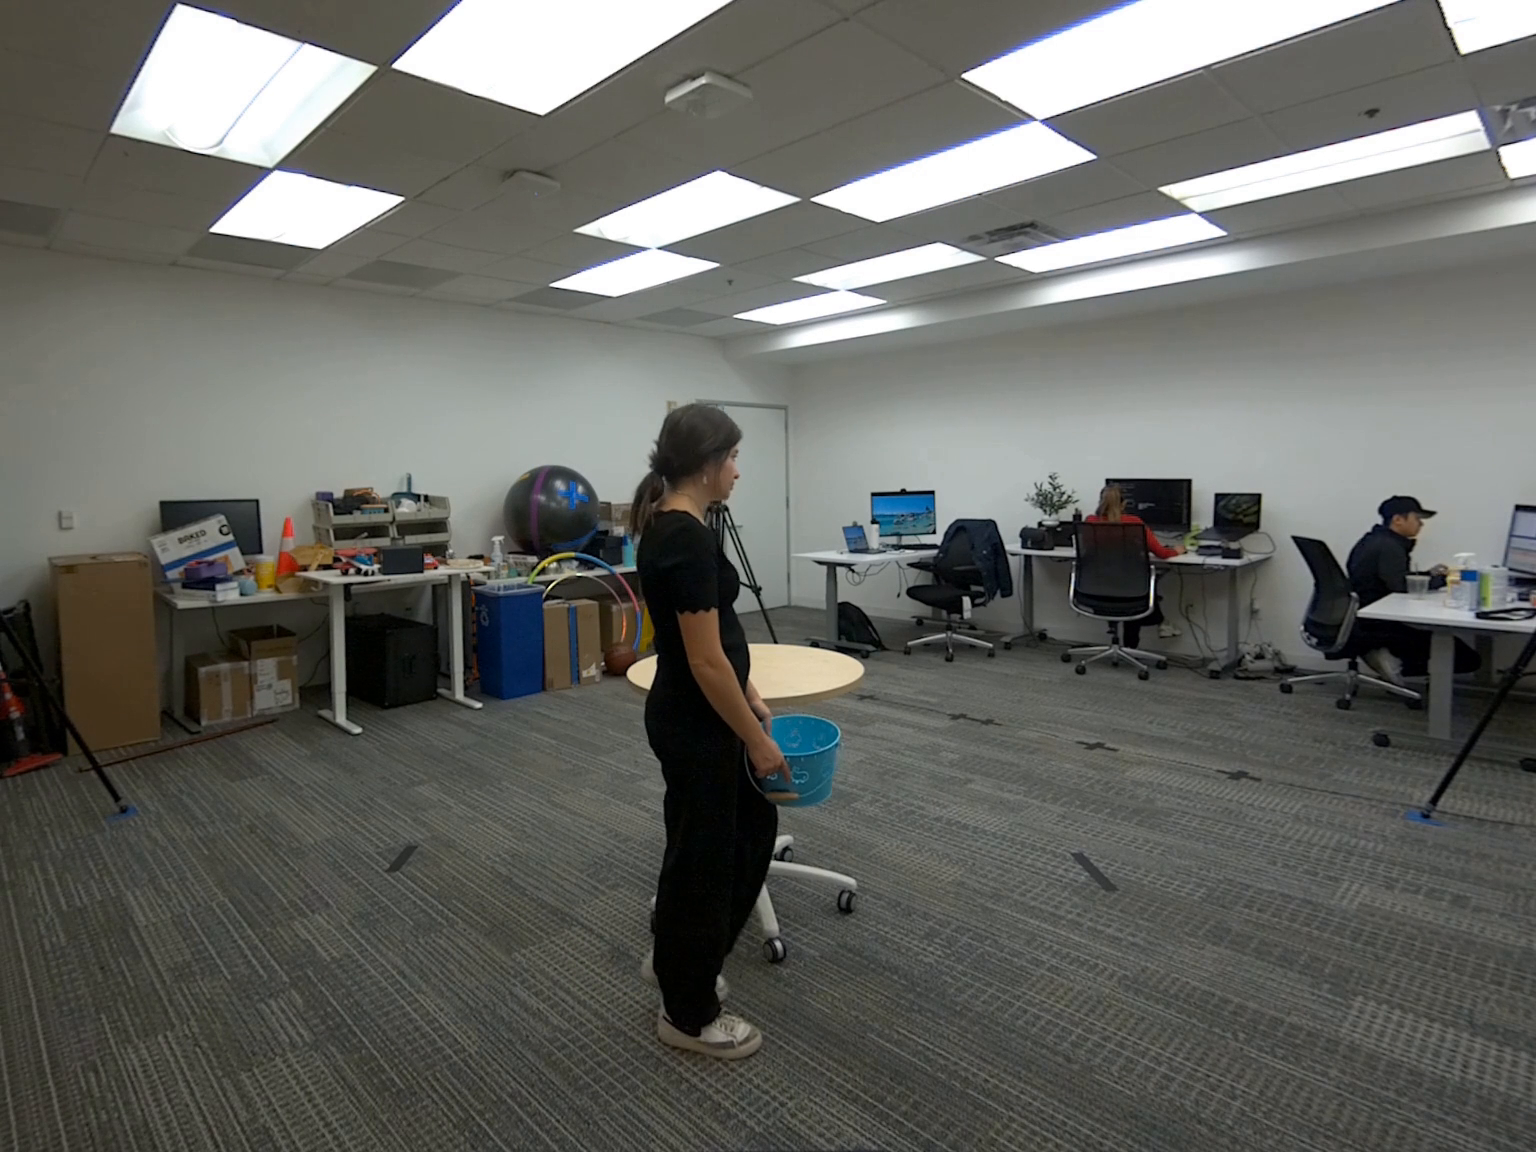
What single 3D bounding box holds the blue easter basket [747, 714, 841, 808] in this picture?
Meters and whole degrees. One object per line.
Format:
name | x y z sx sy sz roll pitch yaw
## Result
blue easter basket | 0.042 0.480 2.151 0.244 0.154 0.247 -8 14 0
